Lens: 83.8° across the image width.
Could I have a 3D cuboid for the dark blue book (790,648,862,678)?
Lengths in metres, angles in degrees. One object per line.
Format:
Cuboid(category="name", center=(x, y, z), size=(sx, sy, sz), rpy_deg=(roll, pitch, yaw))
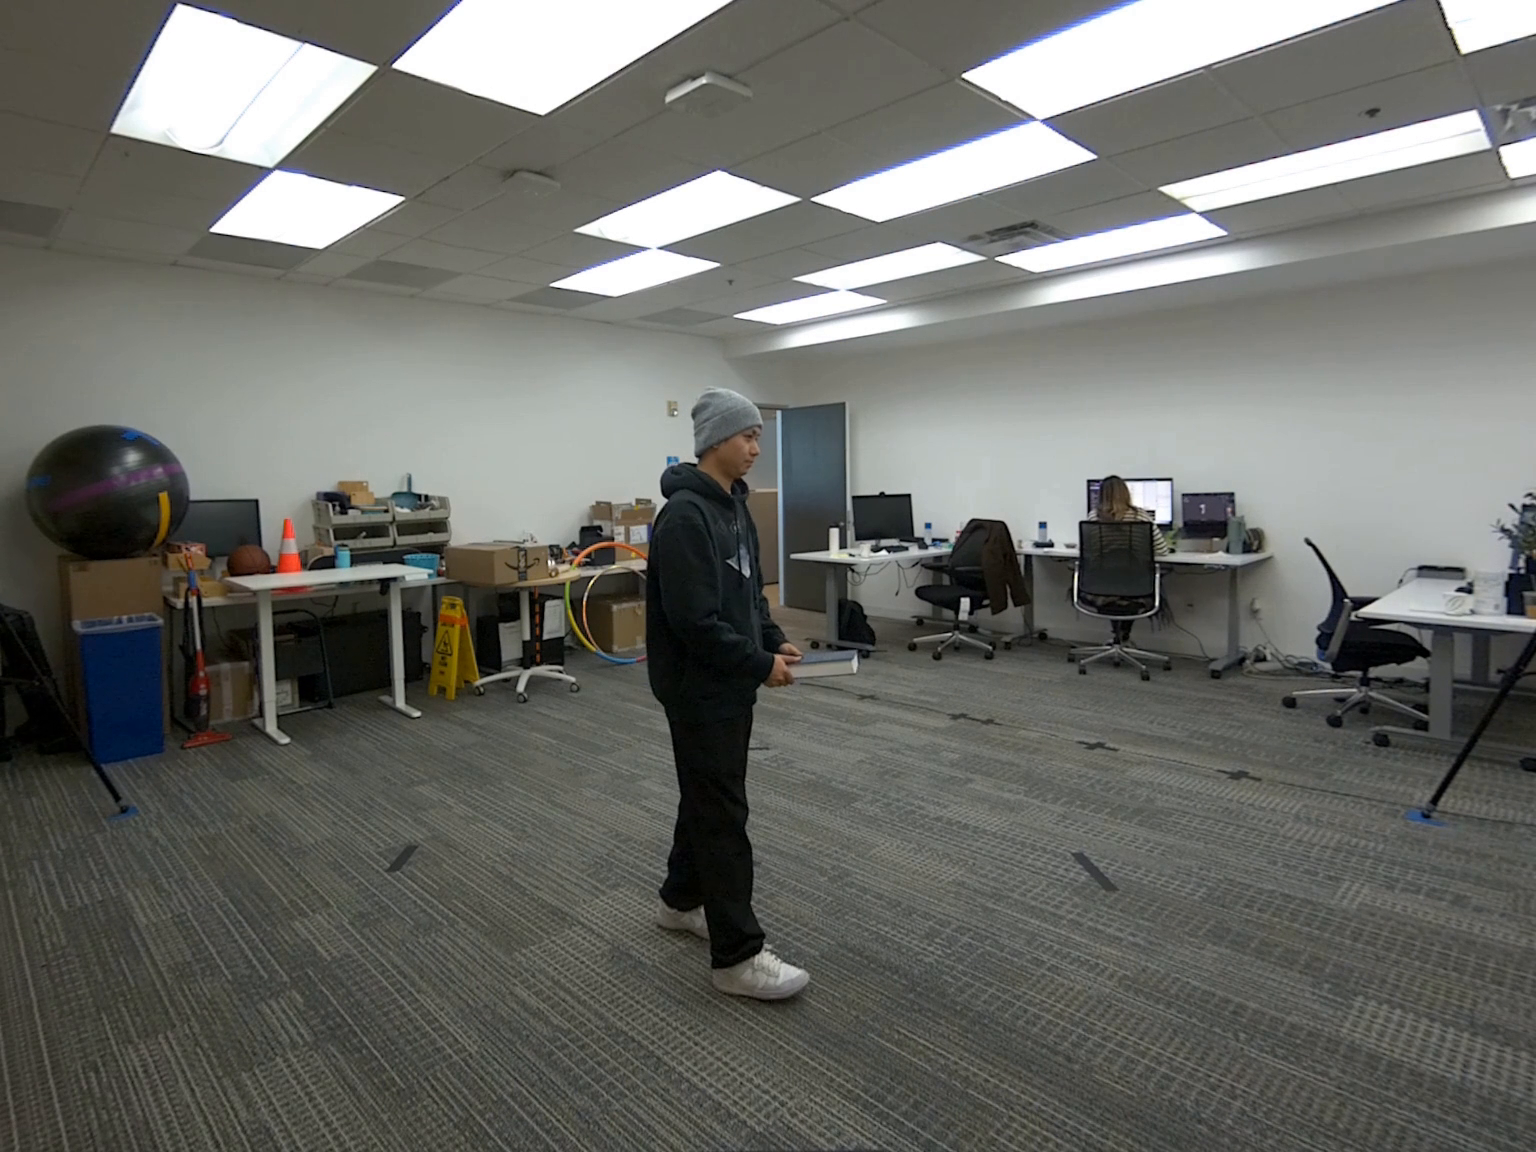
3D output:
Cuboid(category="dark blue book", center=(0.136, 0.245, 2.410), size=(0.247, 0.045, 0.162), rpy_deg=(-6, 1, 9))
